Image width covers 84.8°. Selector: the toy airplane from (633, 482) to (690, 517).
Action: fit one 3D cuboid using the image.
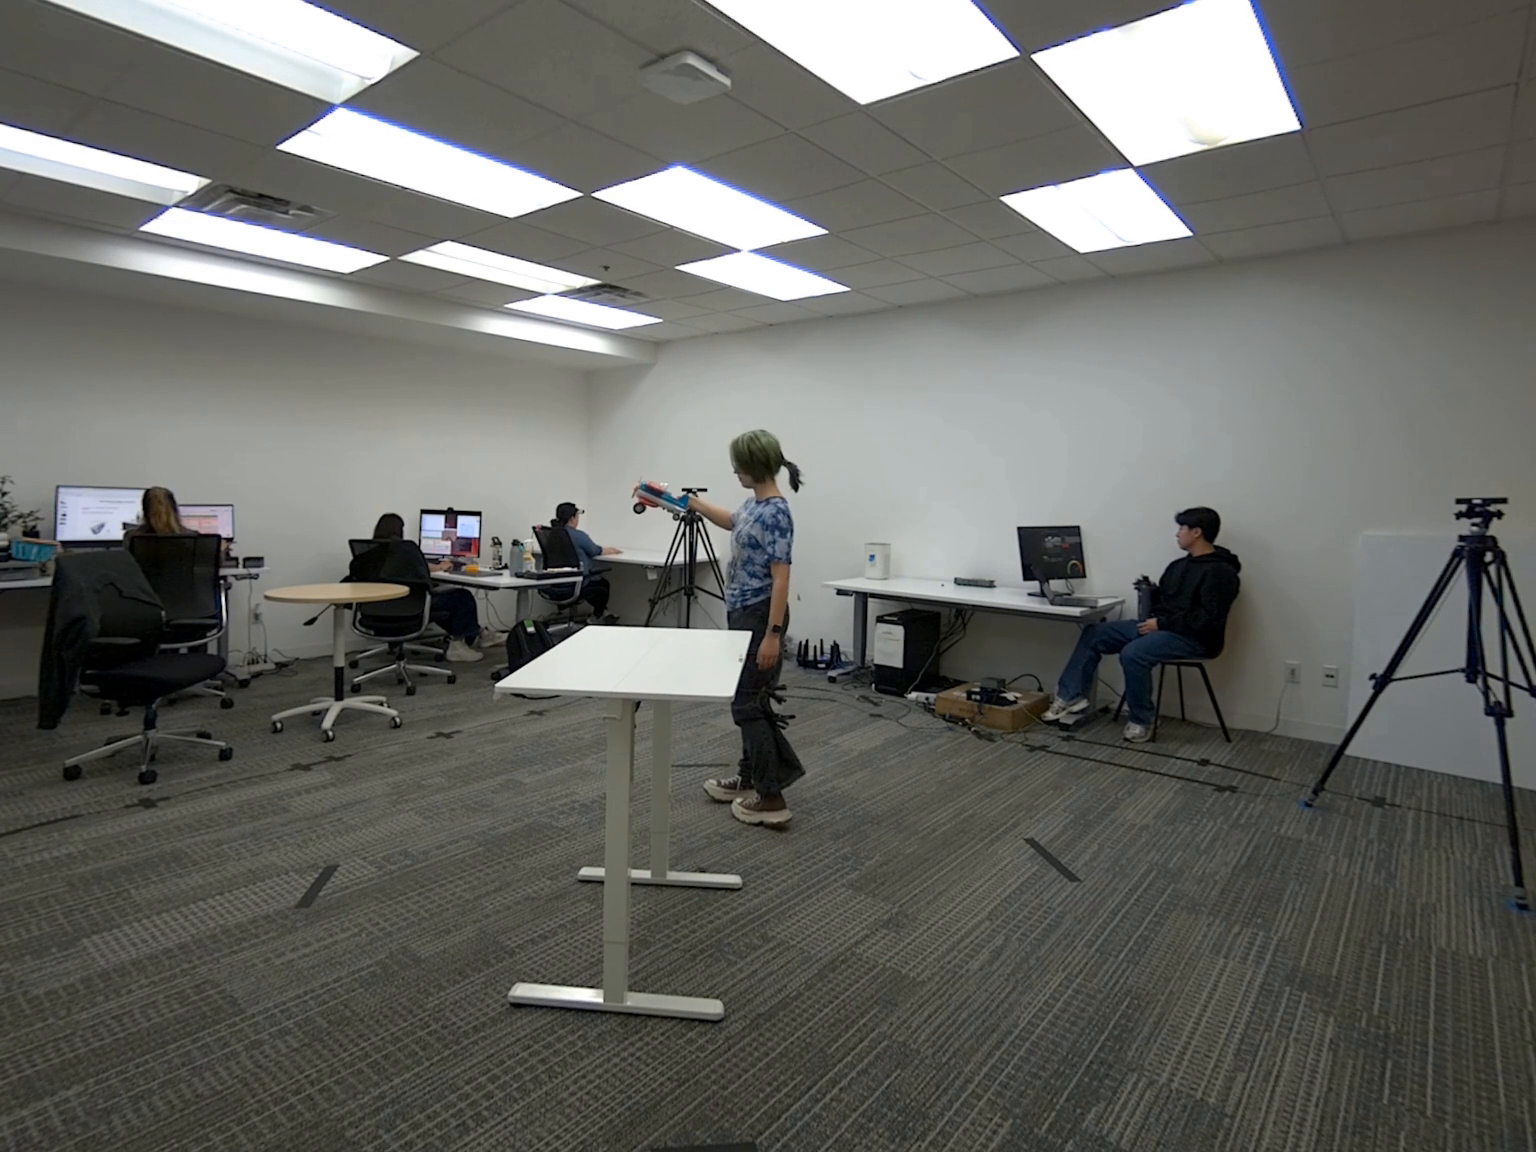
[{"bbox_3d":[-0.517,-0.356,3.969,0.251,0.156,0.260,7,7,-30],"label":"toy airplane"}]
